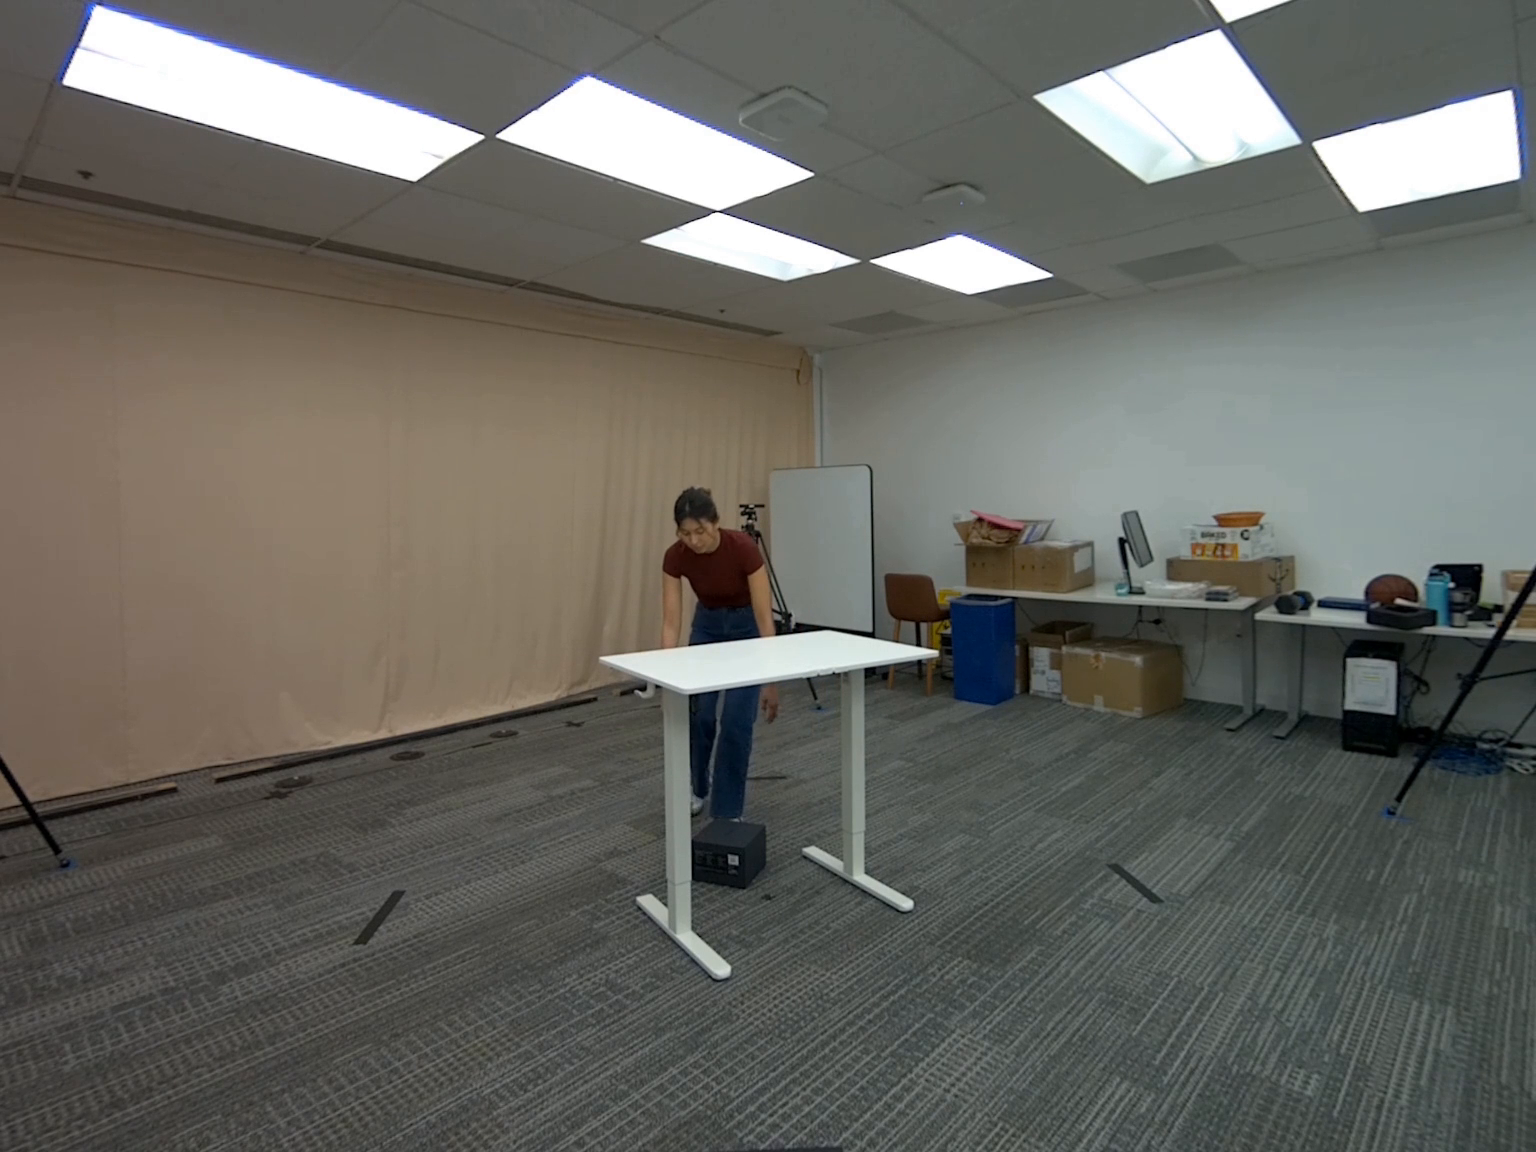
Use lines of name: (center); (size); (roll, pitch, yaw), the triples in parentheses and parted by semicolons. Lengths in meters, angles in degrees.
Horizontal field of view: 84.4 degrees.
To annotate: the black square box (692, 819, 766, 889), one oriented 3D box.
black square box: (-0.141, 1.036, 3.183); (0.222, 0.155, 0.223); (0, 5, 21)
